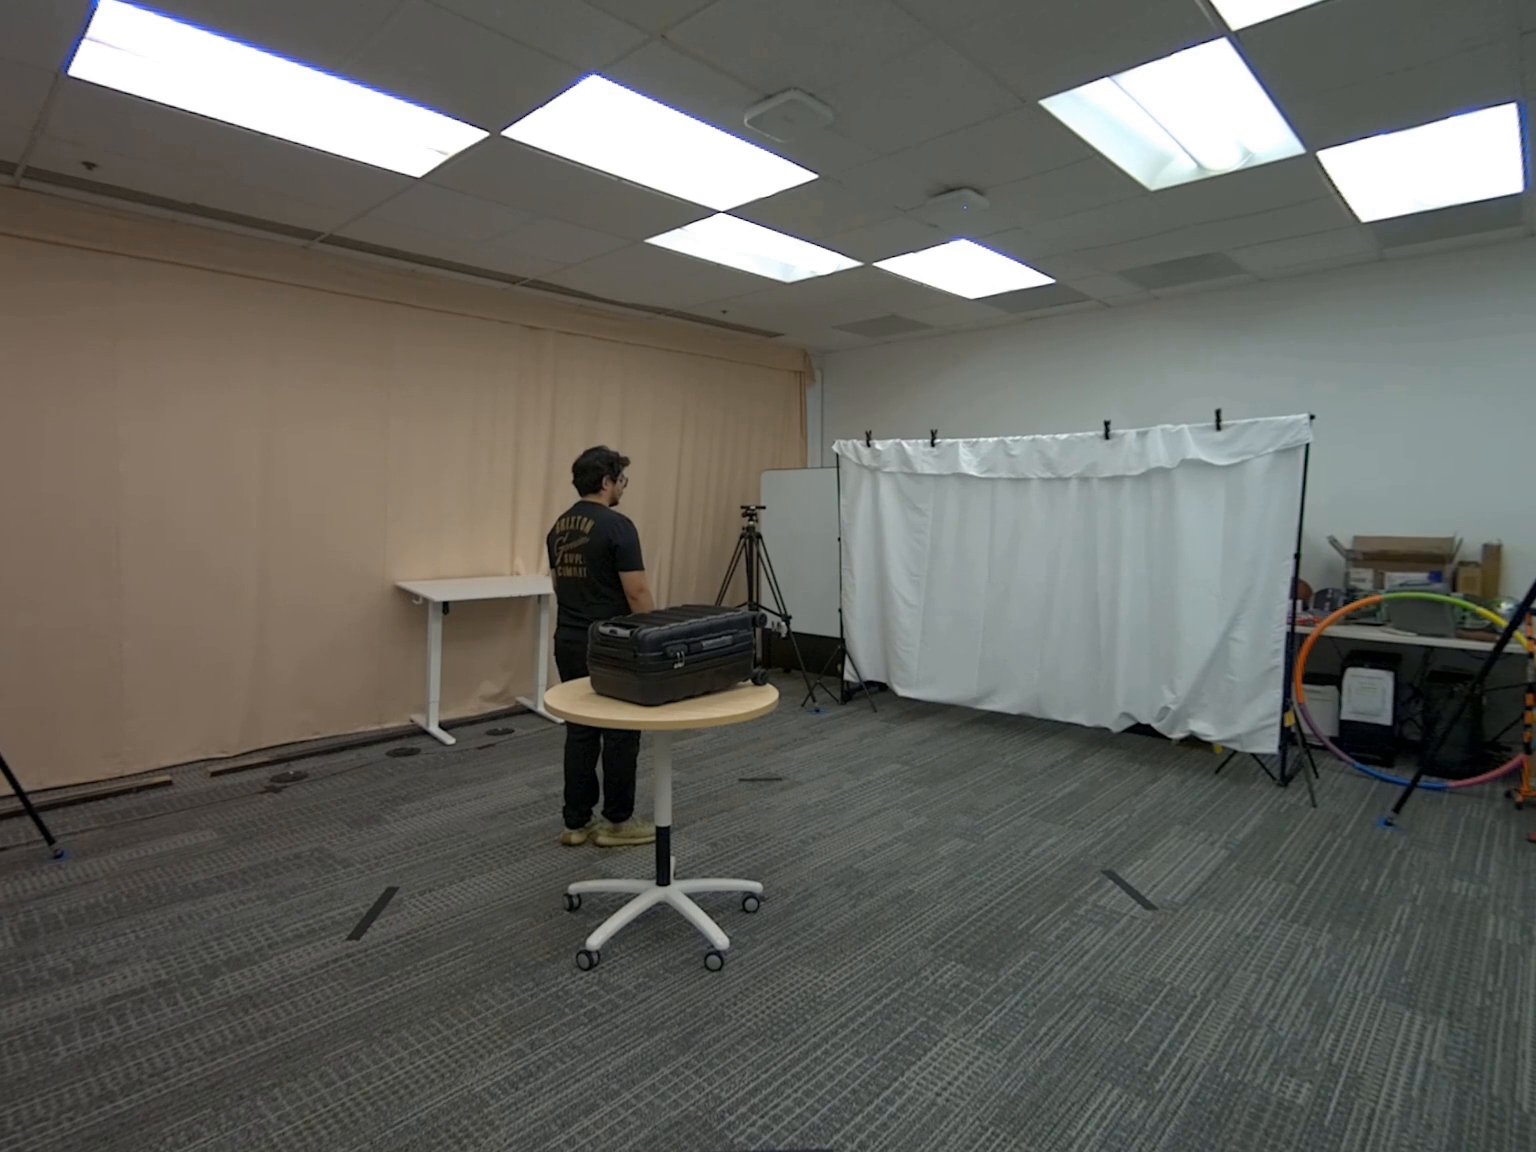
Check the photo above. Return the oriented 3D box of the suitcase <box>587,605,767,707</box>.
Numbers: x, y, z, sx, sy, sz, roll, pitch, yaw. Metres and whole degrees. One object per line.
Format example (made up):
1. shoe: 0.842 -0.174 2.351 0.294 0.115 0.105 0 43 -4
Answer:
1. suitcase: -0.303 0.254 2.792 0.388 0.247 0.533 4 8 42
